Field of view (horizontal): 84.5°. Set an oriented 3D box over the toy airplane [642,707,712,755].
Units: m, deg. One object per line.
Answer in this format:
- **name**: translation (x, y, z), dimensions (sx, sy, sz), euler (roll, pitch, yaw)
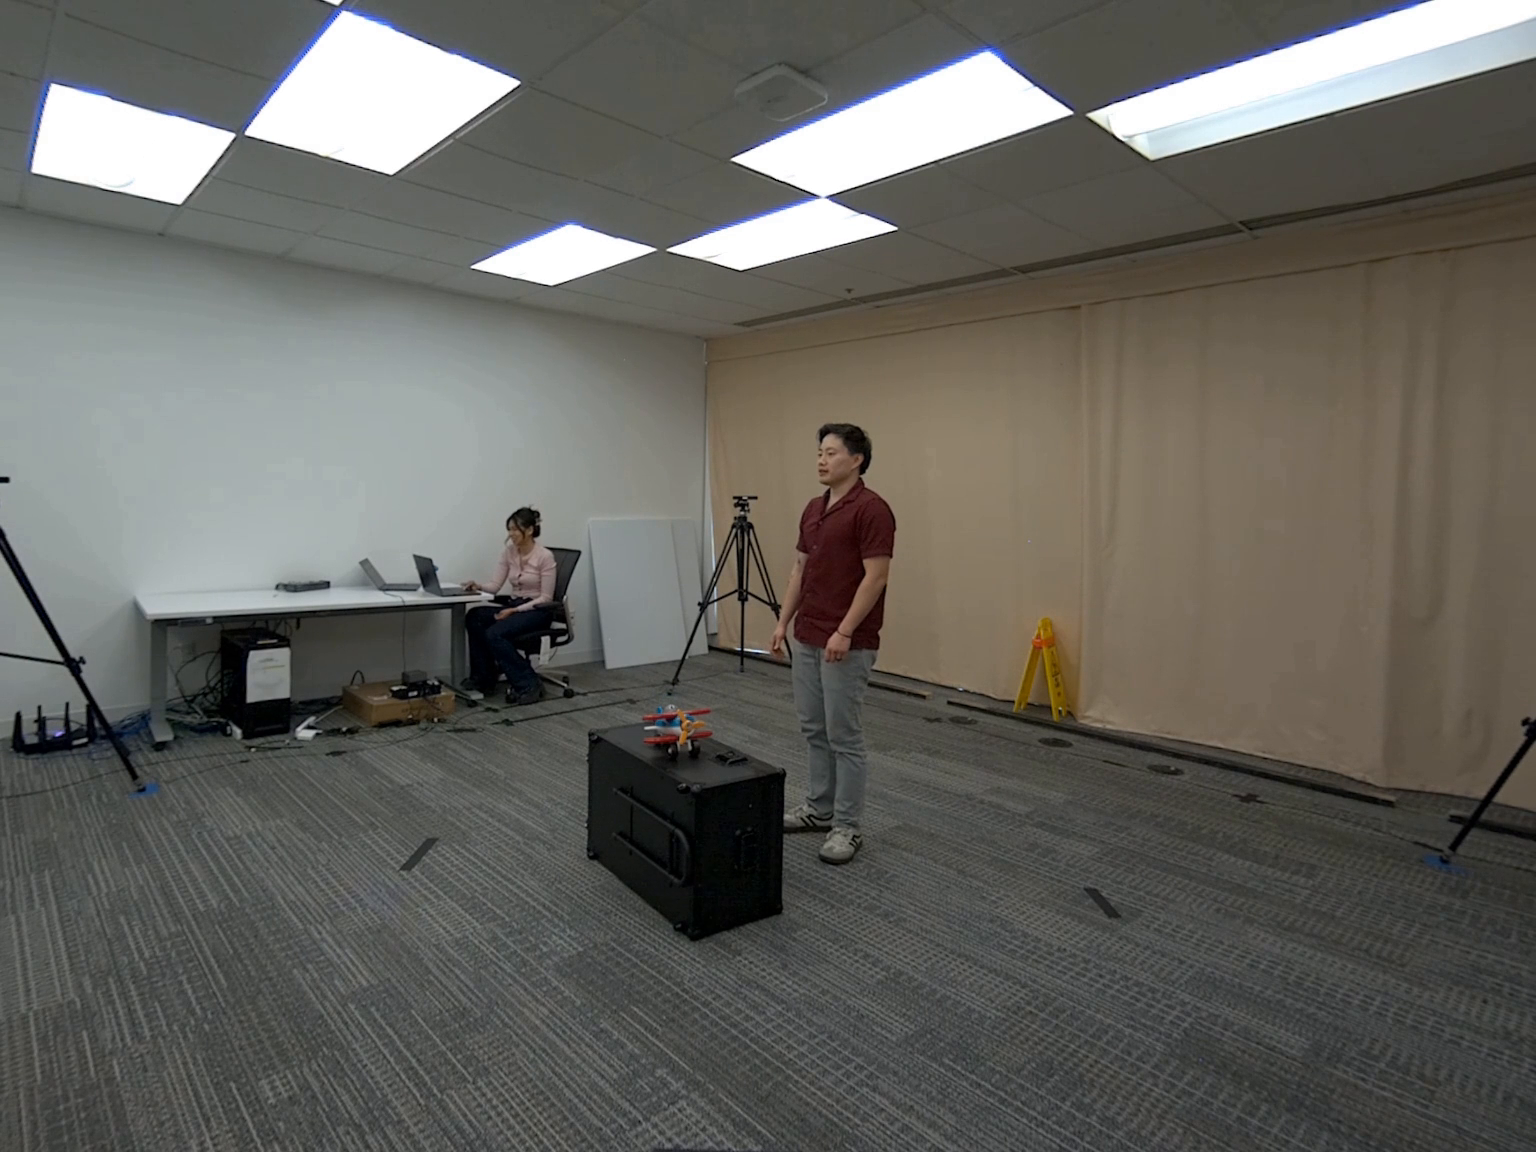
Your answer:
- **toy airplane**: translation (-0.359, 0.548, 2.995), dimensions (0.265, 0.156, 0.246), euler (6, 6, 32)
